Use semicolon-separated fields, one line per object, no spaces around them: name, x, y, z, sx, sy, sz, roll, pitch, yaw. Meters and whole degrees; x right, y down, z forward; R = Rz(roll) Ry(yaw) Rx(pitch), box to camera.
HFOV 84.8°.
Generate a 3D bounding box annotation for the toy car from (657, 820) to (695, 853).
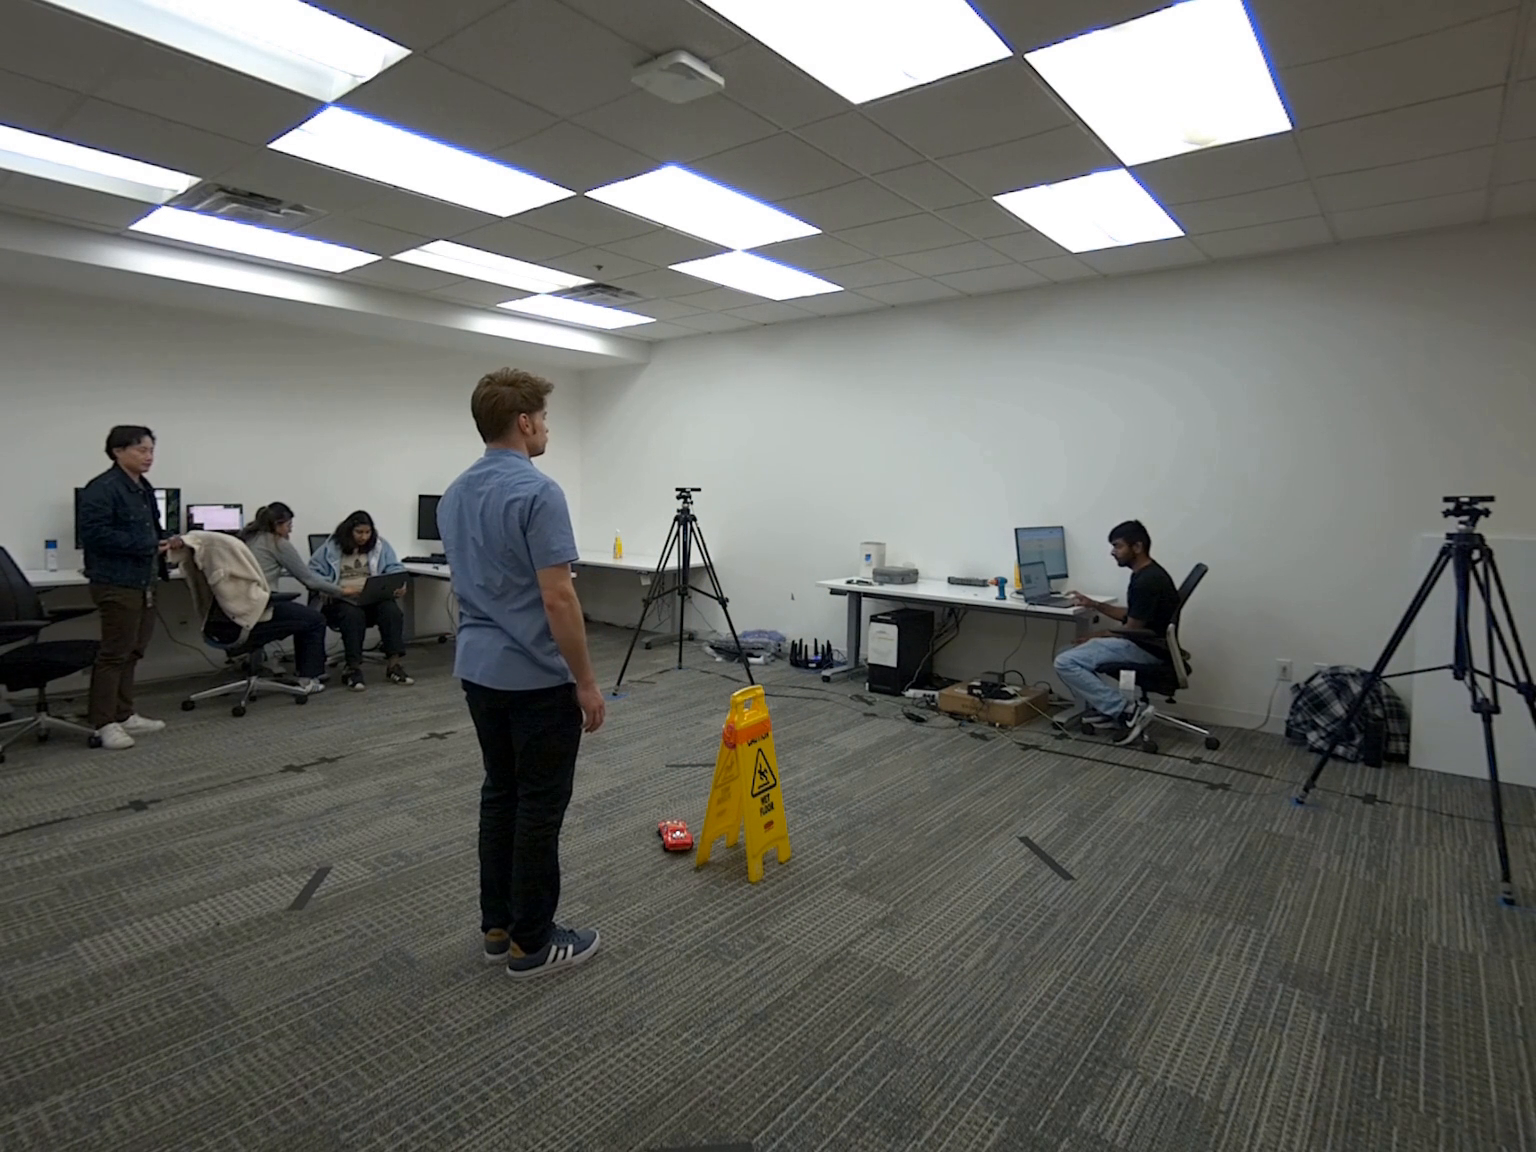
toy car;-0.371;1.012;3.325;0.129;0.084;0.256;-2;-5;-12
